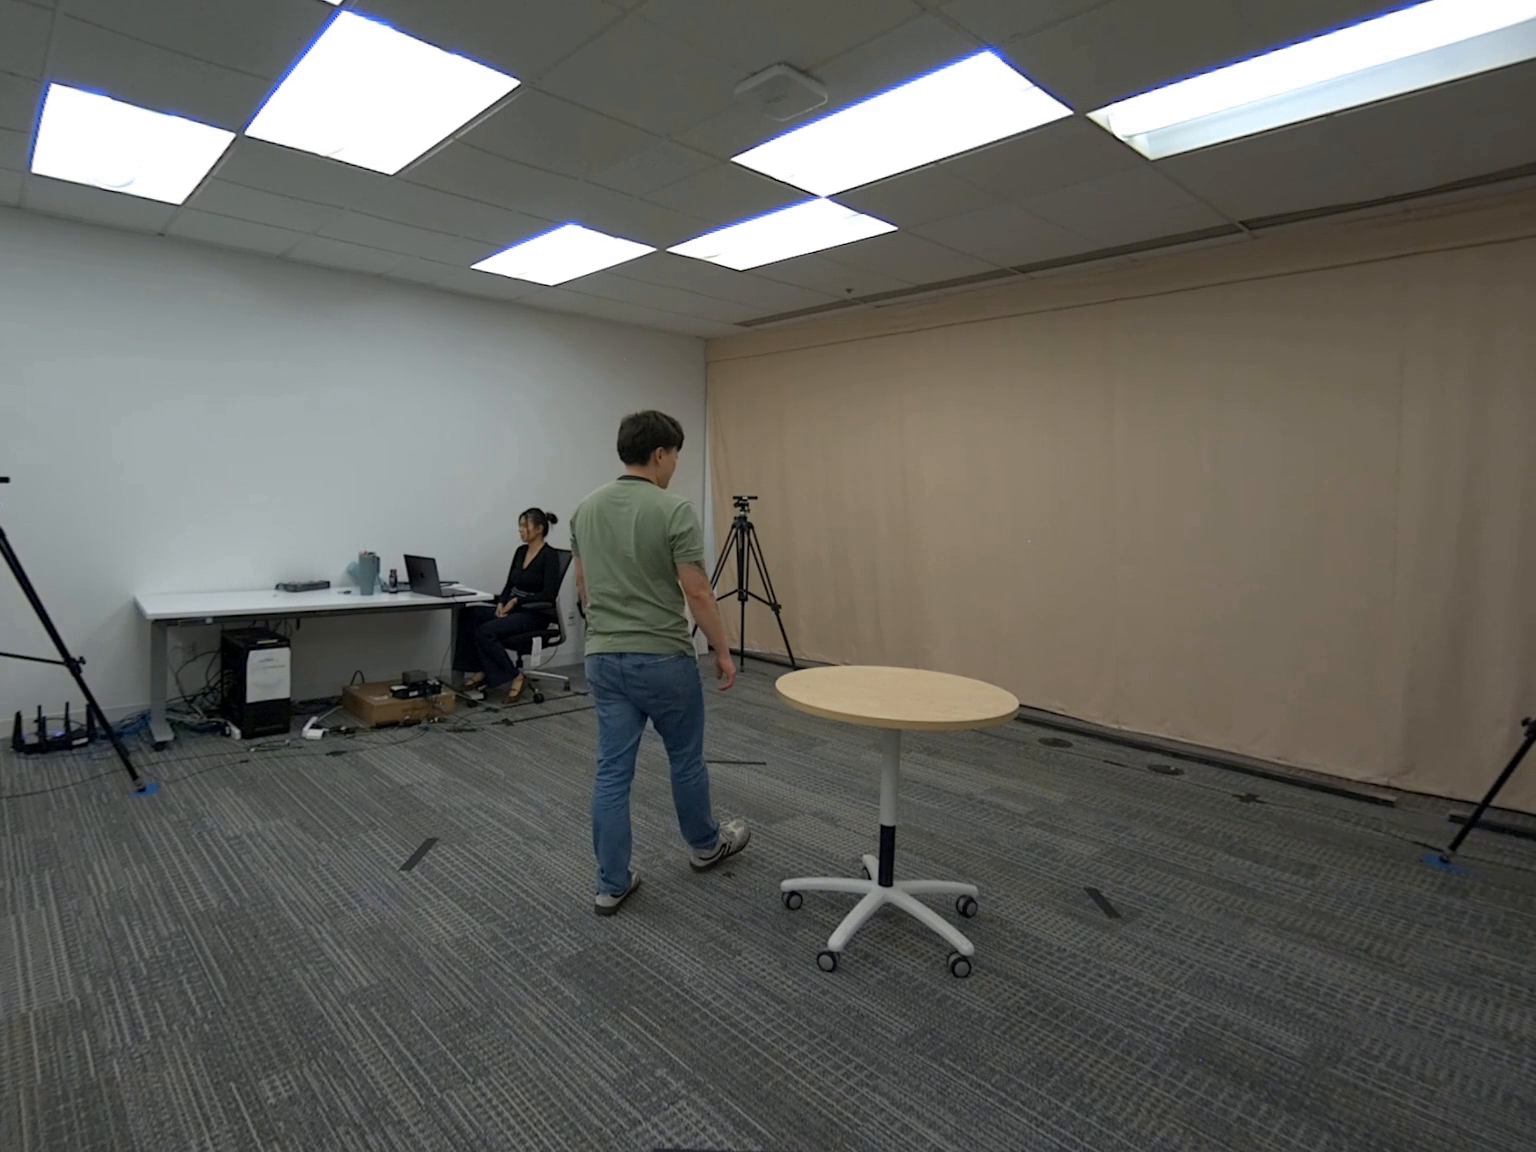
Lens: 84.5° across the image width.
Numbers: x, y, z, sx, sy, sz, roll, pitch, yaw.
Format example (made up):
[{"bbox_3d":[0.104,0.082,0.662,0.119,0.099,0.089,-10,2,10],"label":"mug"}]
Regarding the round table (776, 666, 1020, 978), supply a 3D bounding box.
[{"bbox_3d":[0.382,0.760,2.737,0.763,0.791,0.767,2,5,-2],"label":"round table"}]
